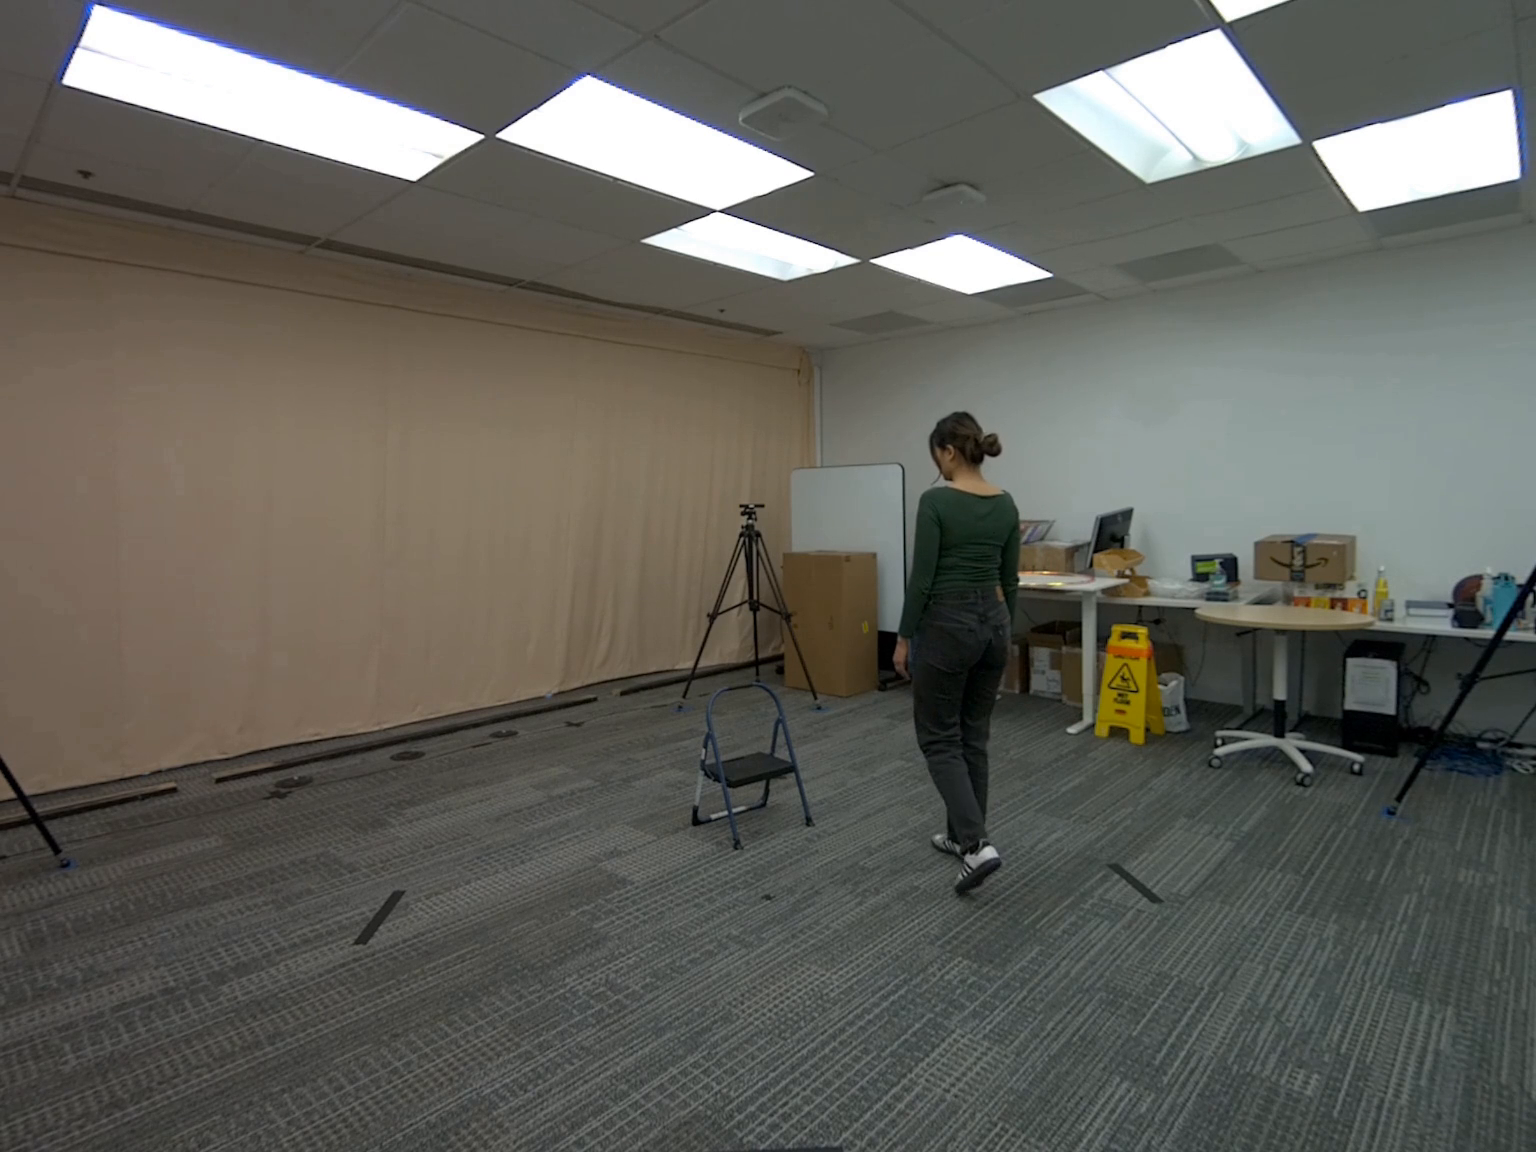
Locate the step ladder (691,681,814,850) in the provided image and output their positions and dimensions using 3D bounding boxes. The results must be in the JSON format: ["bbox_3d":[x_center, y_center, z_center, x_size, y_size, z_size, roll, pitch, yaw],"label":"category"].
[{"bbox_3d":[-0.071,0.781,3.646,0.418,0.605,0.360,-3,4,-38],"label":"step ladder"}]
